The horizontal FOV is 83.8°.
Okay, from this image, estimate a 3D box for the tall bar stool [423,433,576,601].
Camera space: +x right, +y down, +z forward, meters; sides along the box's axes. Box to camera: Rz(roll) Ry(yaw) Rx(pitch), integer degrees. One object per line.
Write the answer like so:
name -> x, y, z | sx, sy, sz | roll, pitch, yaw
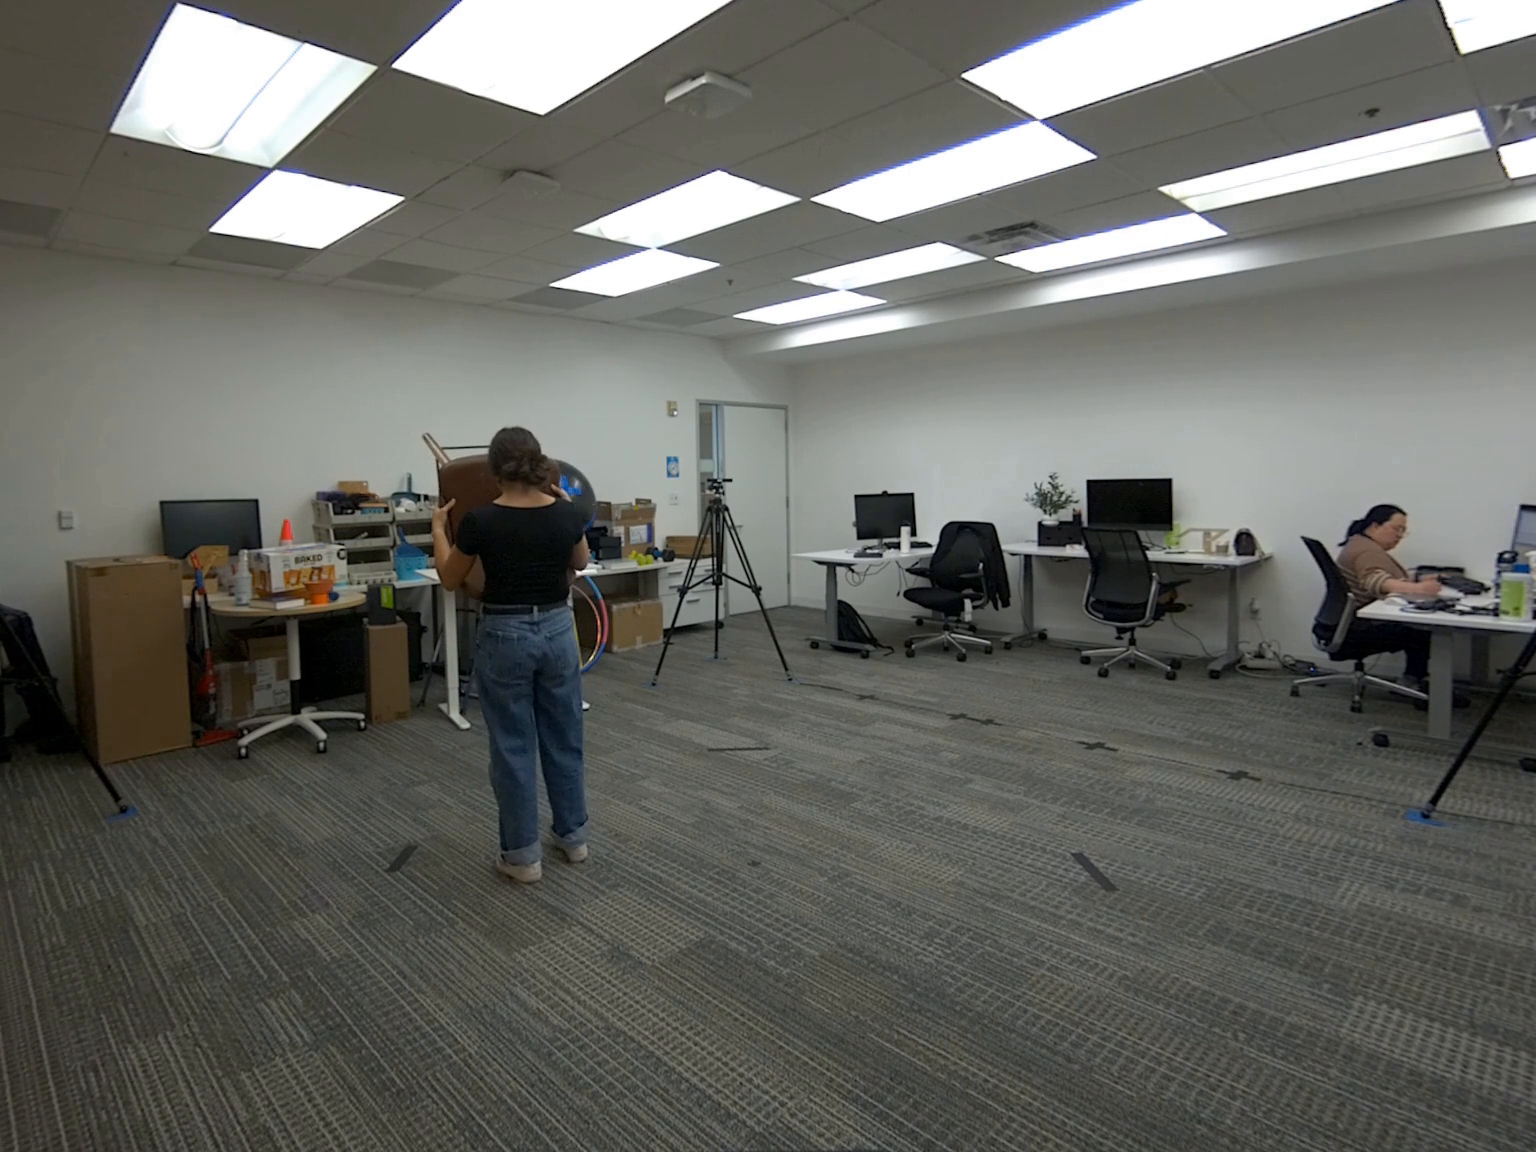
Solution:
tall bar stool -> -1.064, -0.269, 3.340 | 0.446, 0.461, 0.922 | -5, 20, -28
